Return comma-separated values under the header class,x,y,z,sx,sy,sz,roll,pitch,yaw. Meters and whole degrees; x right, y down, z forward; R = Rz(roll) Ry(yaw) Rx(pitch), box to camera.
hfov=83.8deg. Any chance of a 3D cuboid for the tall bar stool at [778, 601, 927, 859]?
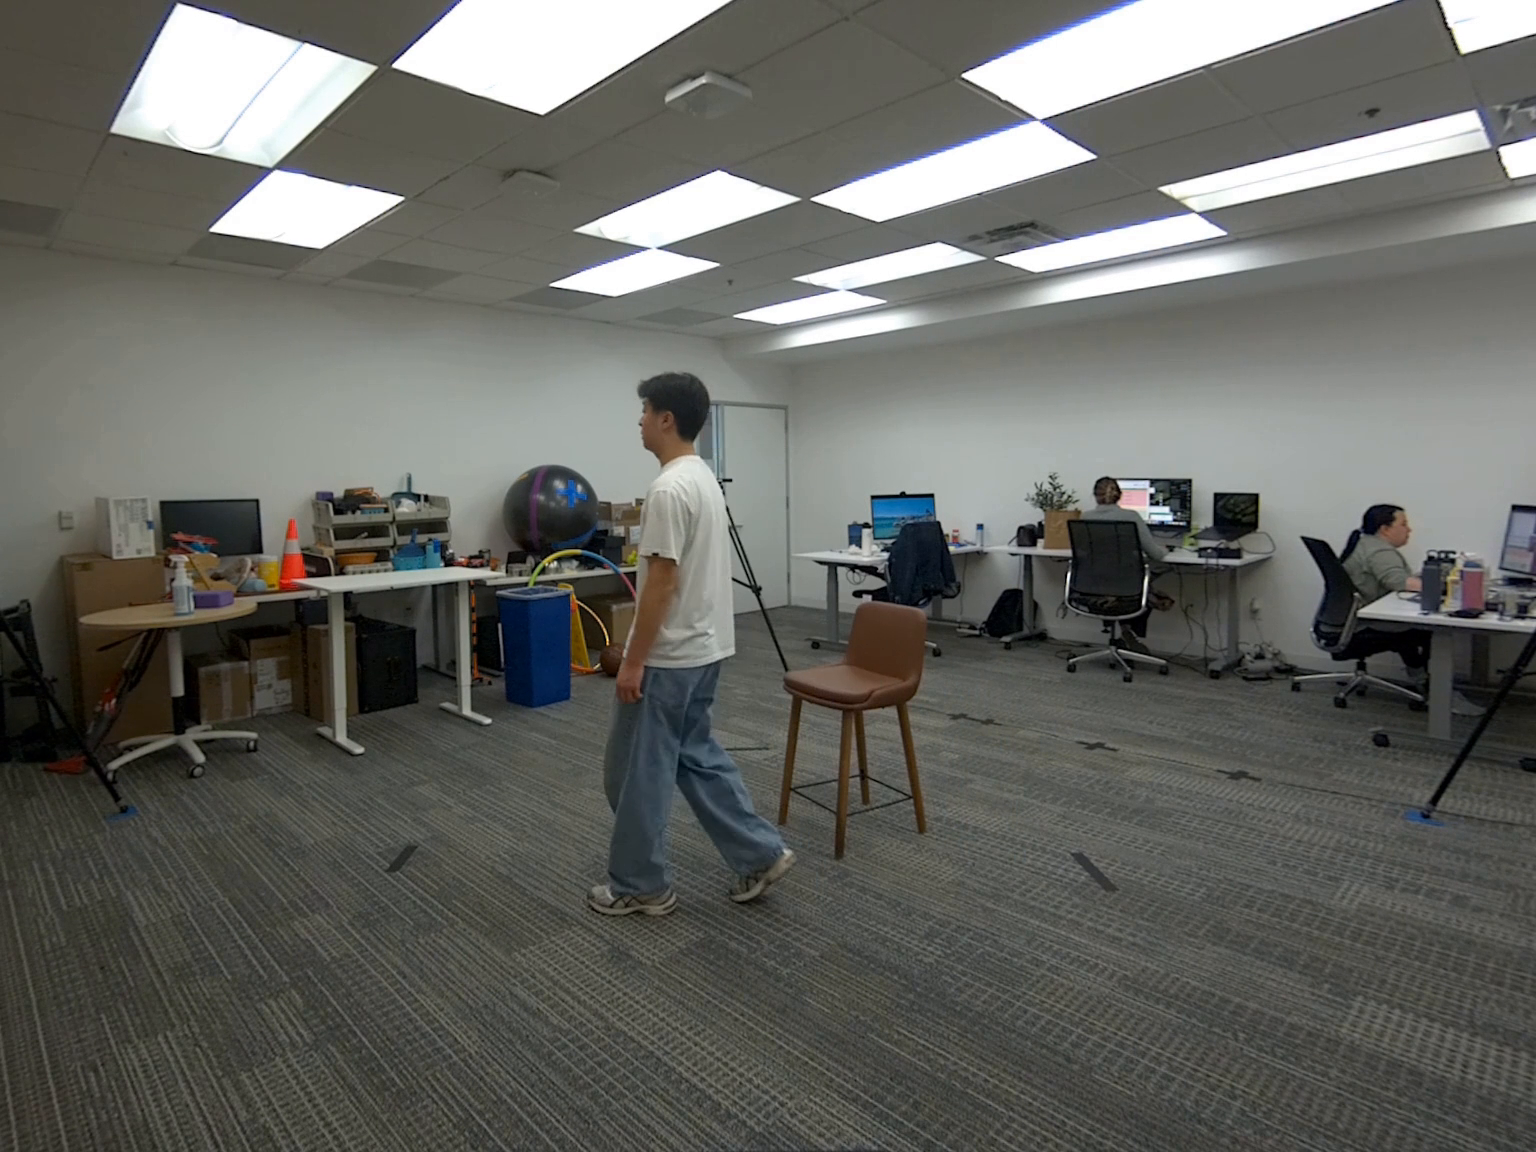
class,x,y,z,sx,sy,sz,roll,pitch,yaw
tall bar stool,0.338,0.570,3.388,0.456,0.887,0.469,-1,4,-32
